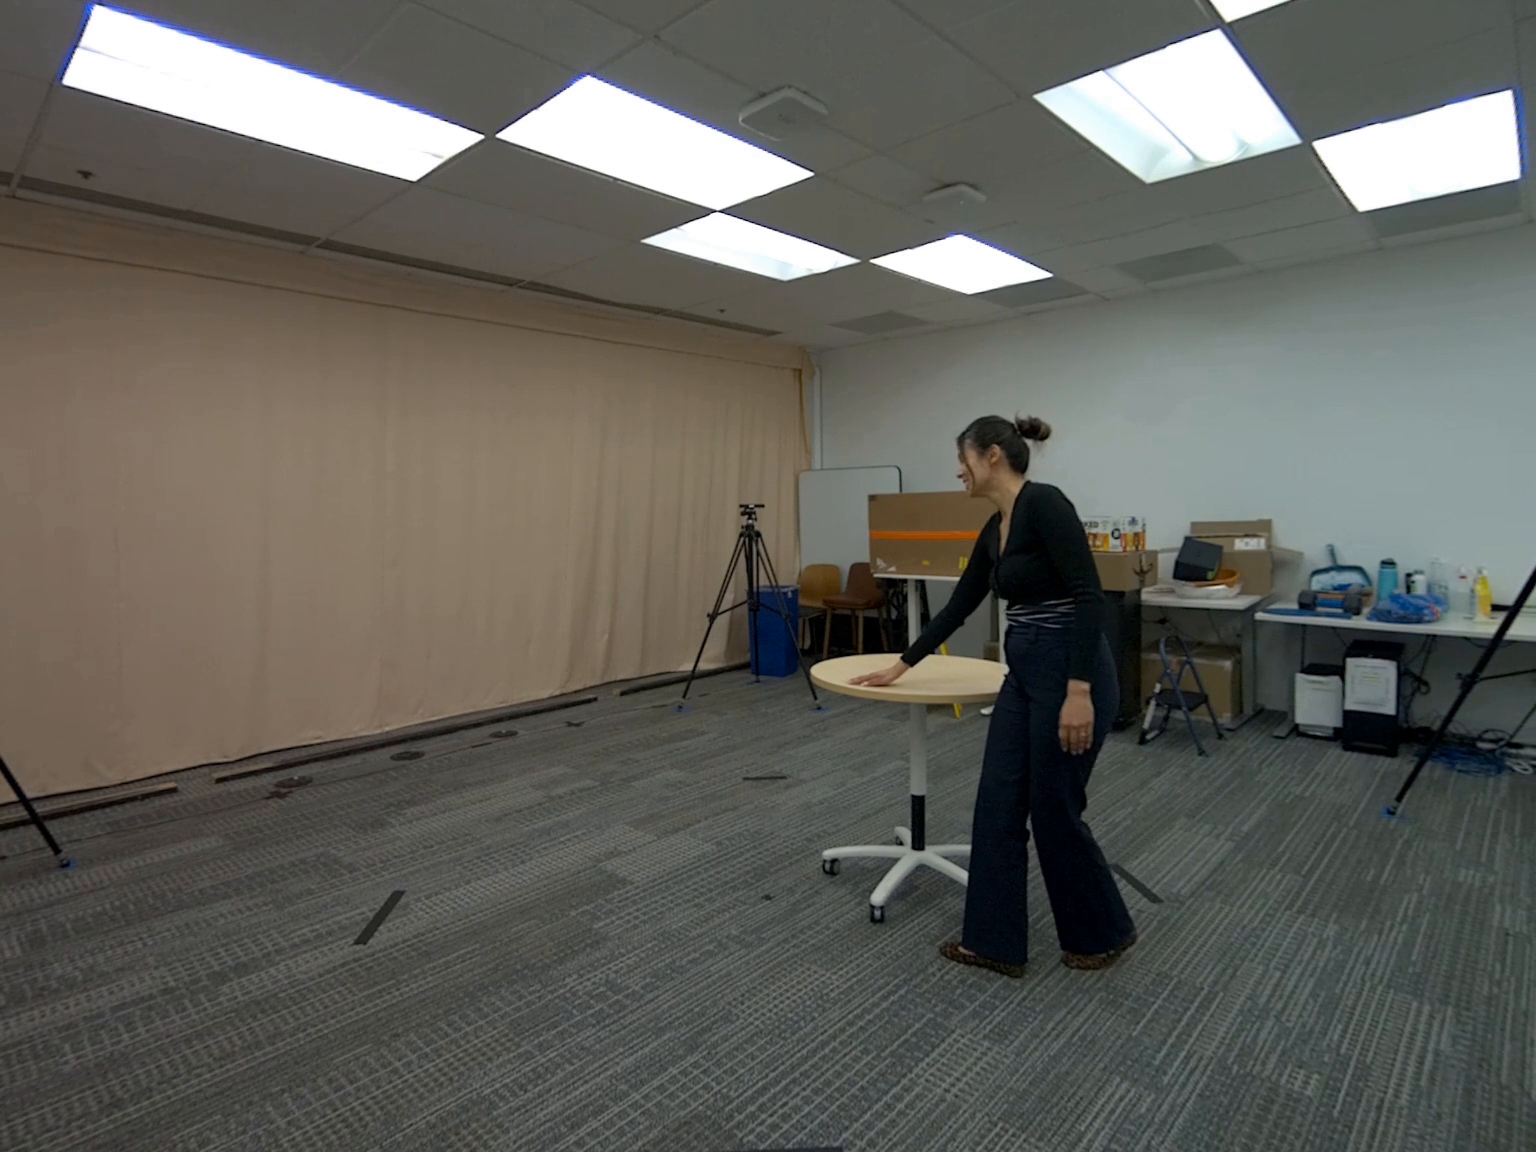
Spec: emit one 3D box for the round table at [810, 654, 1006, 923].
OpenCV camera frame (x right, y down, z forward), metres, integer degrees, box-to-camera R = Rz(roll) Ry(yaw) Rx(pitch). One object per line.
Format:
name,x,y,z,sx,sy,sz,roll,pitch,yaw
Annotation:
round table,0.540,0.737,3.024,0.763,0.792,0.766,-1,3,-2
